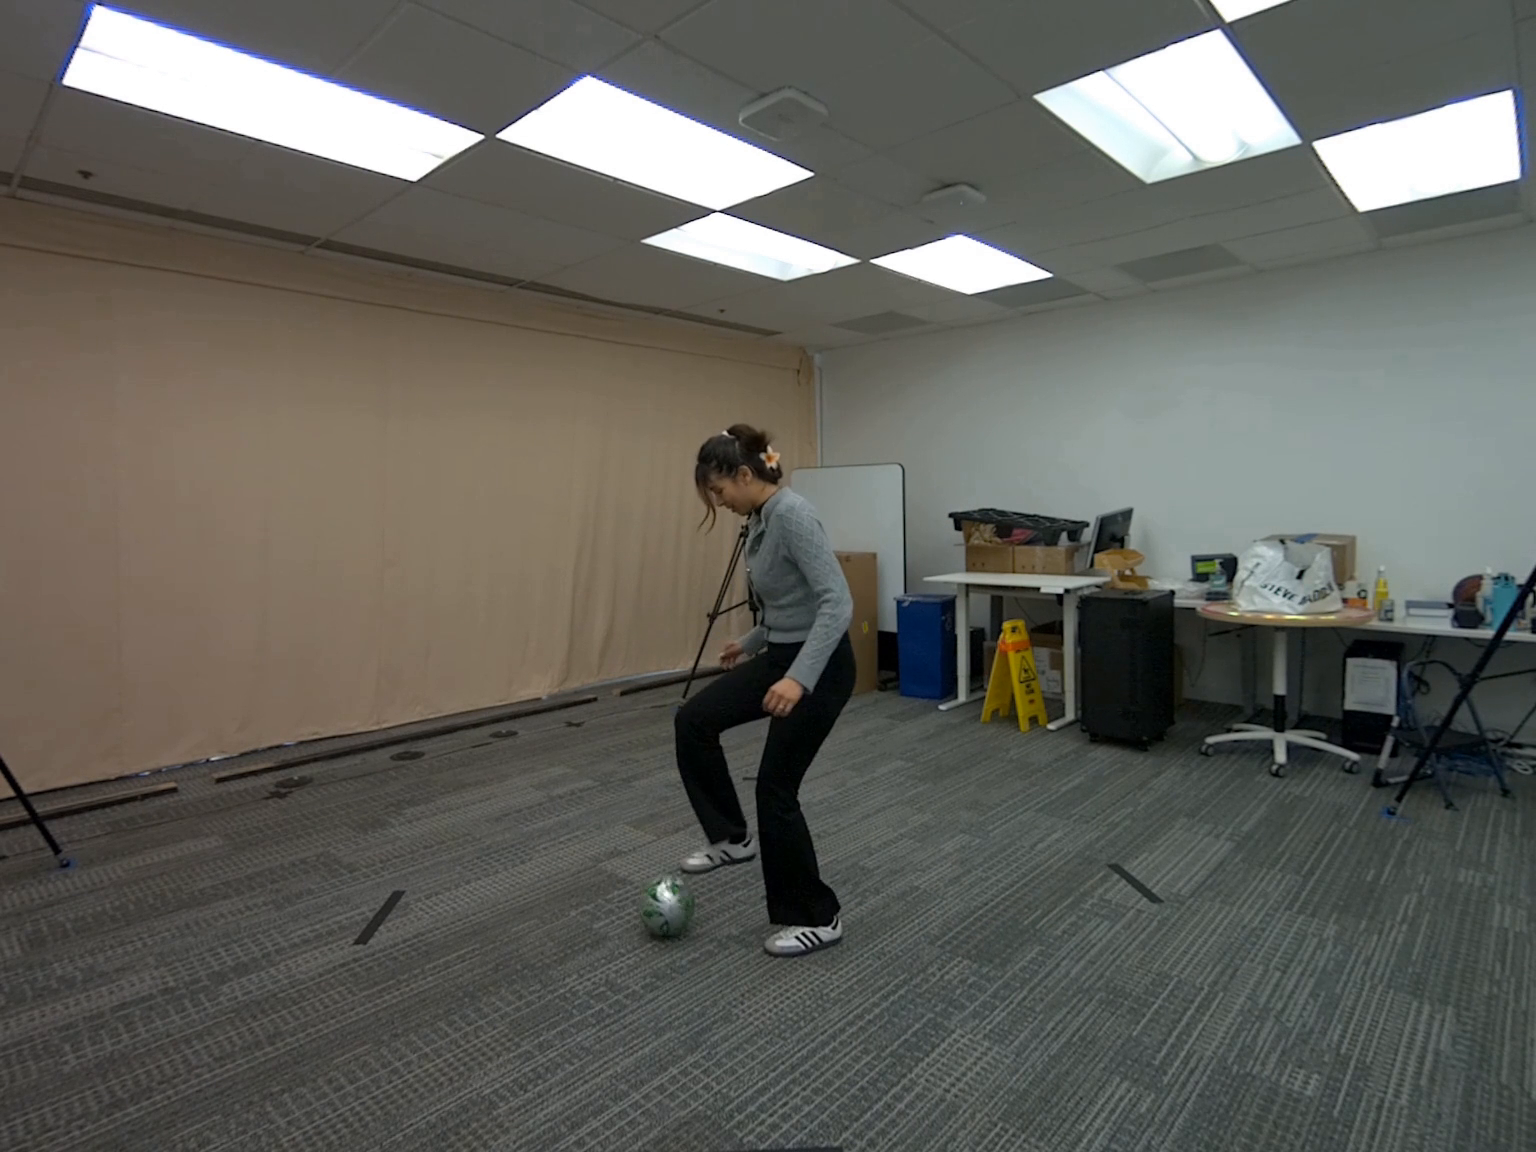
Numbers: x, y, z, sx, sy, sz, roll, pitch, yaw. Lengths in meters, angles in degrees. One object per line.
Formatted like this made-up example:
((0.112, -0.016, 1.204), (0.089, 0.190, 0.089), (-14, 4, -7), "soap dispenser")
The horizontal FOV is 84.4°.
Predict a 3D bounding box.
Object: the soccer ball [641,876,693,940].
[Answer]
((-0.326, 1.073, 2.746), (0.187, 0.187, 0.188), (-1, 4, -2), "soccer ball")
